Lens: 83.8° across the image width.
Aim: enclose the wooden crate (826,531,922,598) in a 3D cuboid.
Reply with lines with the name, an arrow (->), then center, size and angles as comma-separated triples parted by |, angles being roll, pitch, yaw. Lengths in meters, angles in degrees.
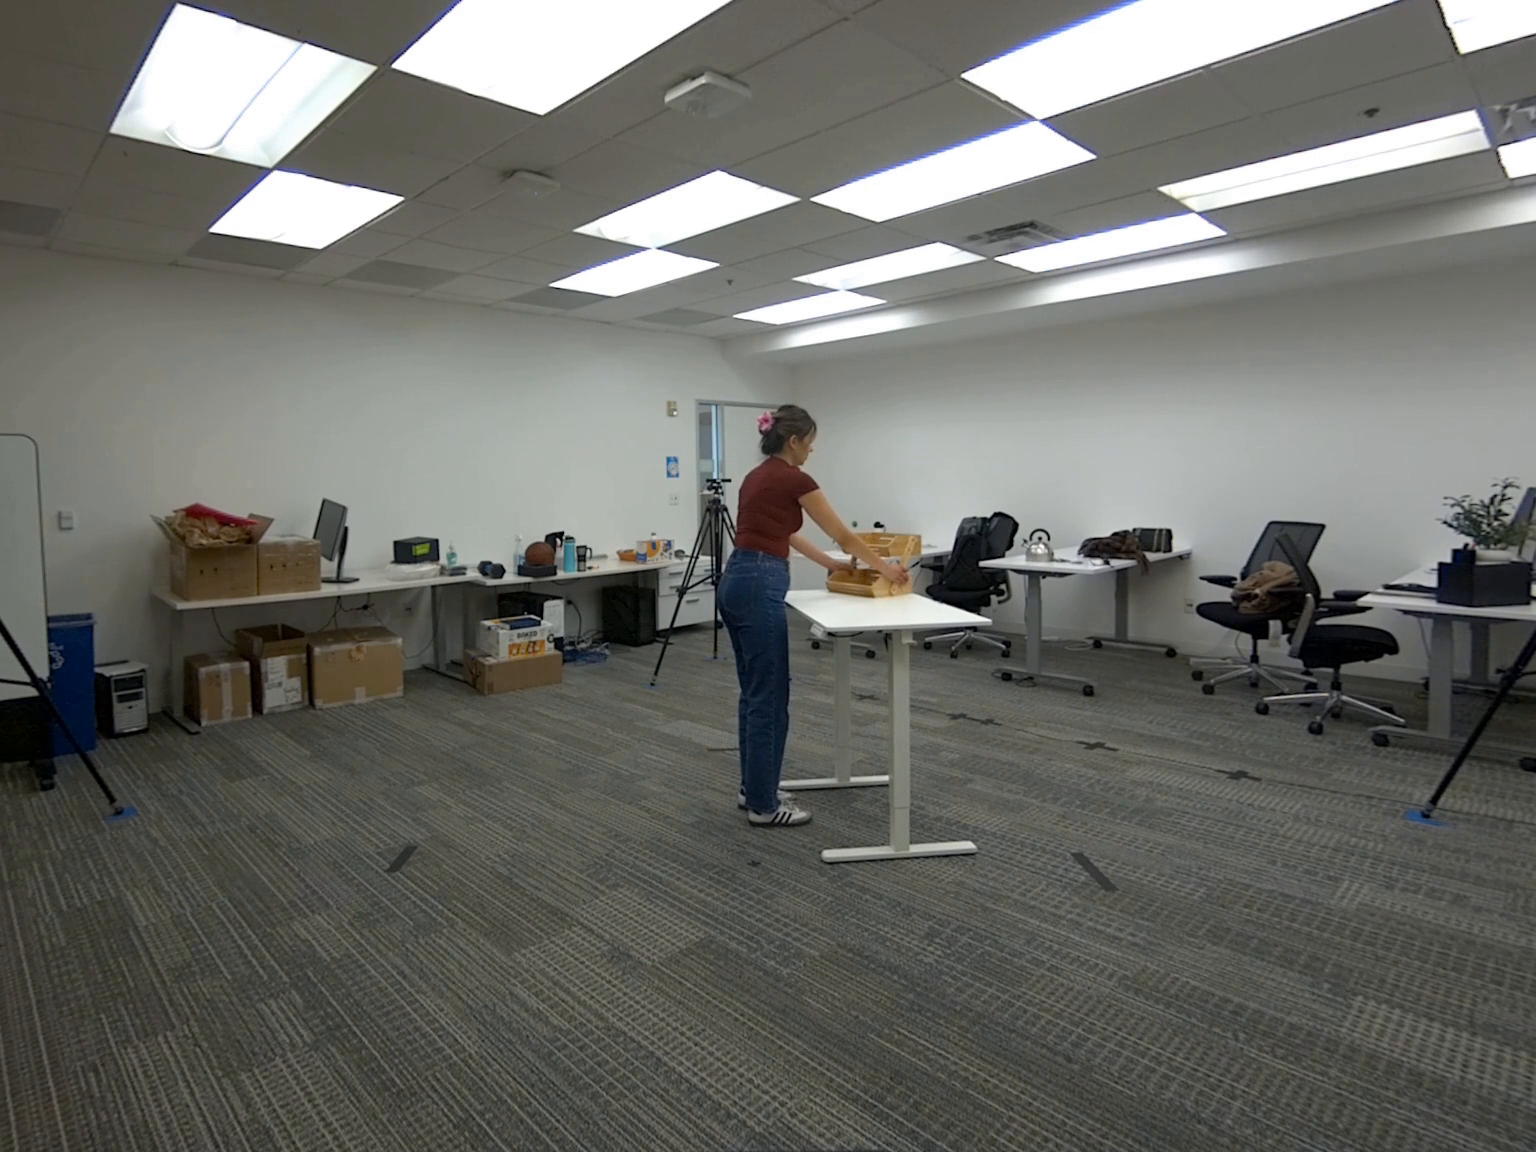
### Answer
wooden crate -> 0.470, -0.061, 3.846 | 0.294, 0.272, 0.334 | -3, 6, -37
